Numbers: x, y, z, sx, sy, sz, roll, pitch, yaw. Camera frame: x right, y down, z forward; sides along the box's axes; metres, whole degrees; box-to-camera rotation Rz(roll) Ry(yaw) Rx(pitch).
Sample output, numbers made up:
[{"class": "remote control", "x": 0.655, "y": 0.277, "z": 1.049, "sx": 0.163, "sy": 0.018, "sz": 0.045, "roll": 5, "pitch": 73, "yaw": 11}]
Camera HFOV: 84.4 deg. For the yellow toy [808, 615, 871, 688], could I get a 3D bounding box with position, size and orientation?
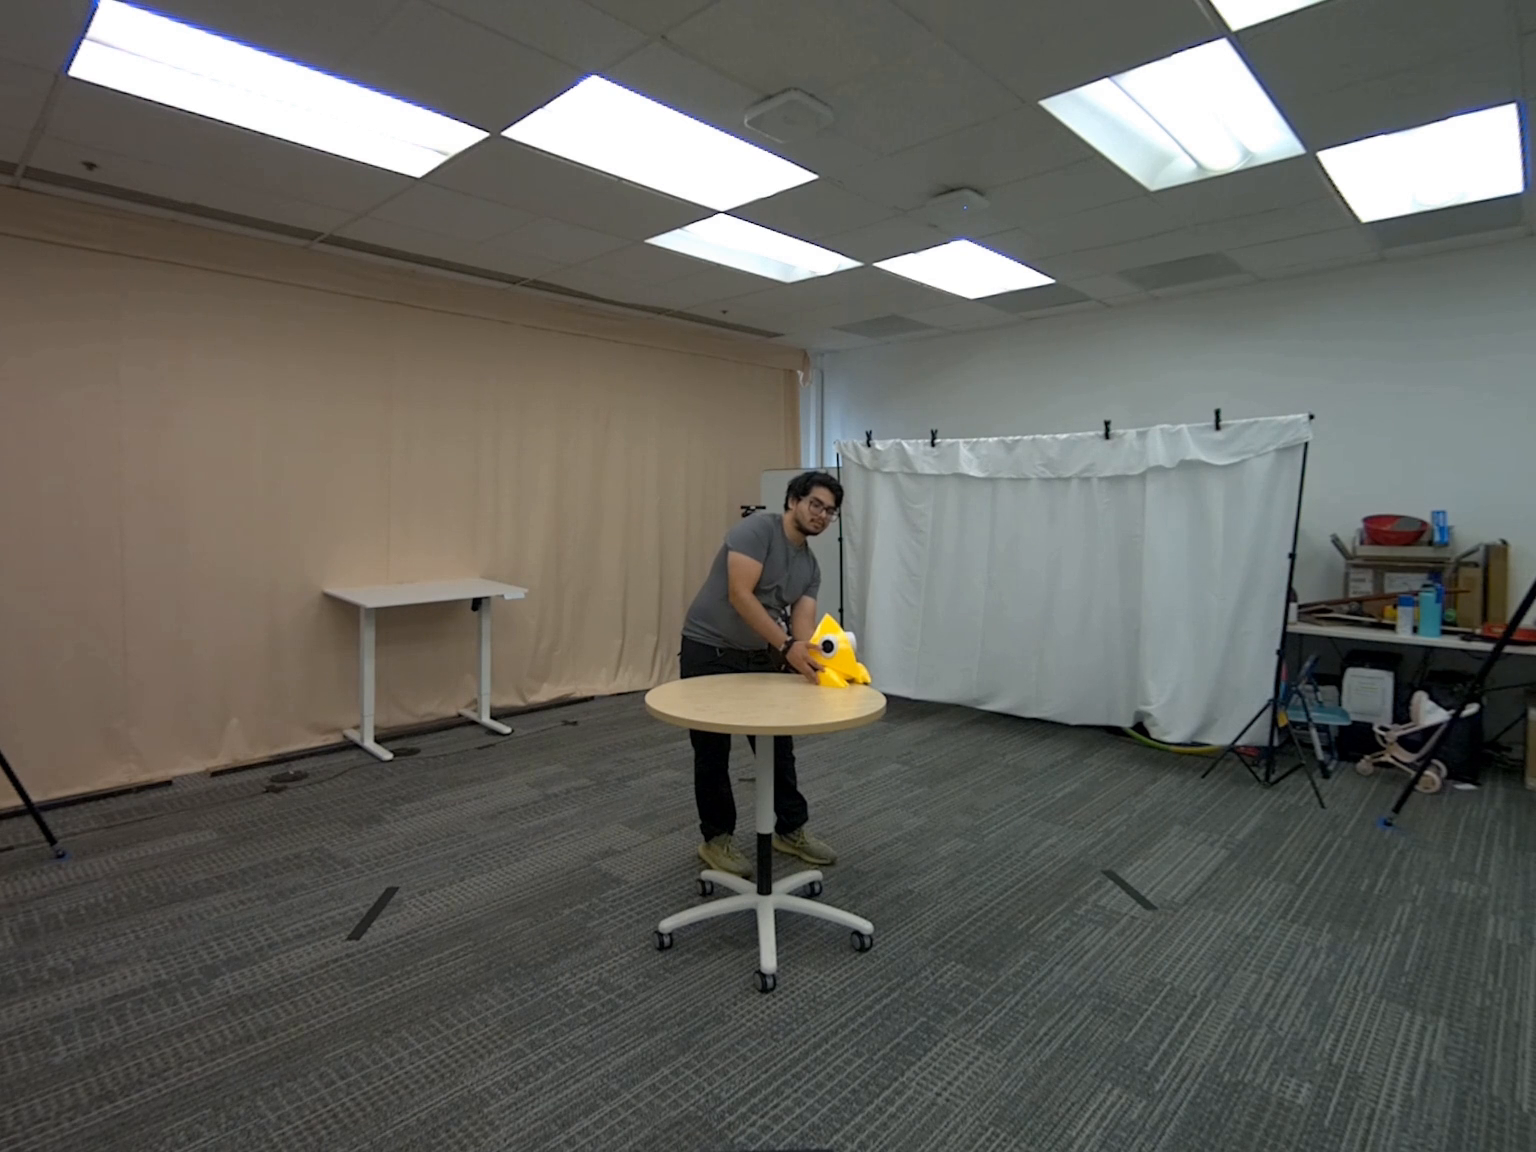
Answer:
[{"class": "yellow toy", "x": 0.251, "y": 0.252, "z": 2.932, "sx": 0.199, "sy": 0.230, "sz": 0.199, "roll": -3, "pitch": 4, "yaw": -38}]
